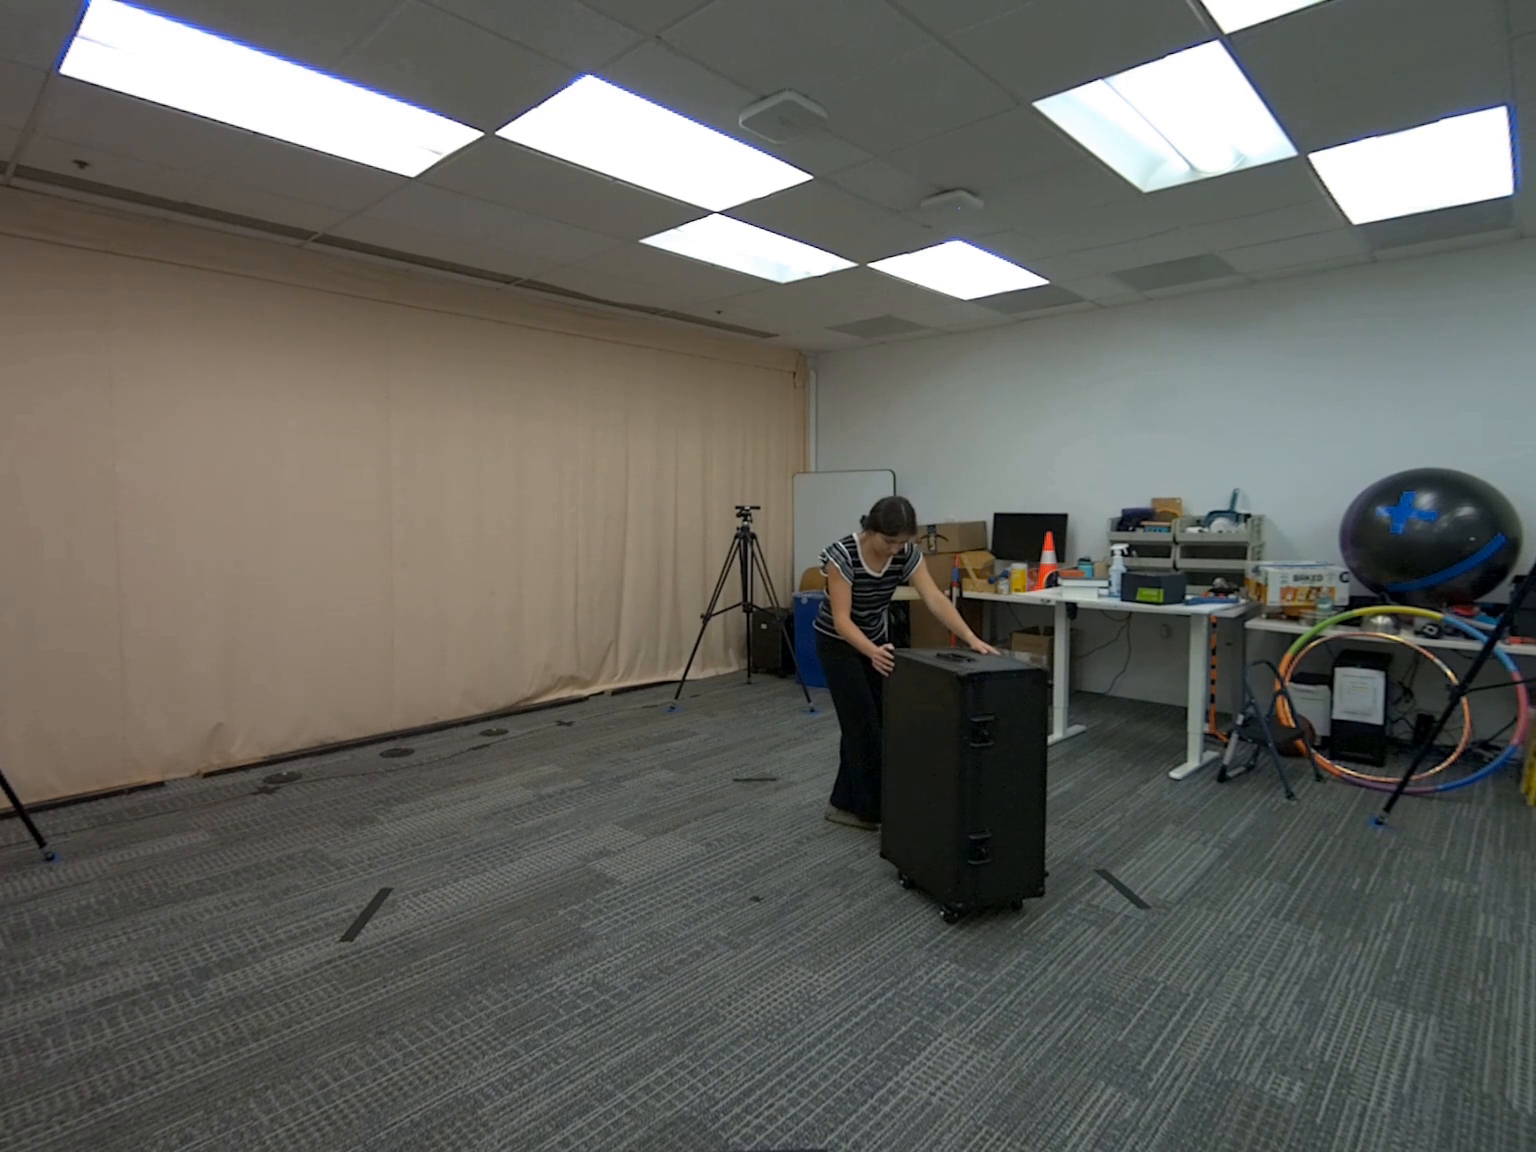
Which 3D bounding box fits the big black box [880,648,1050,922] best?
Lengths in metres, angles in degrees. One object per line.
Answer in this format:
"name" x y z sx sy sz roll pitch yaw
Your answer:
"big black box" 0.692 0.720 3.004 0.388 0.860 0.533 0 3 -22
